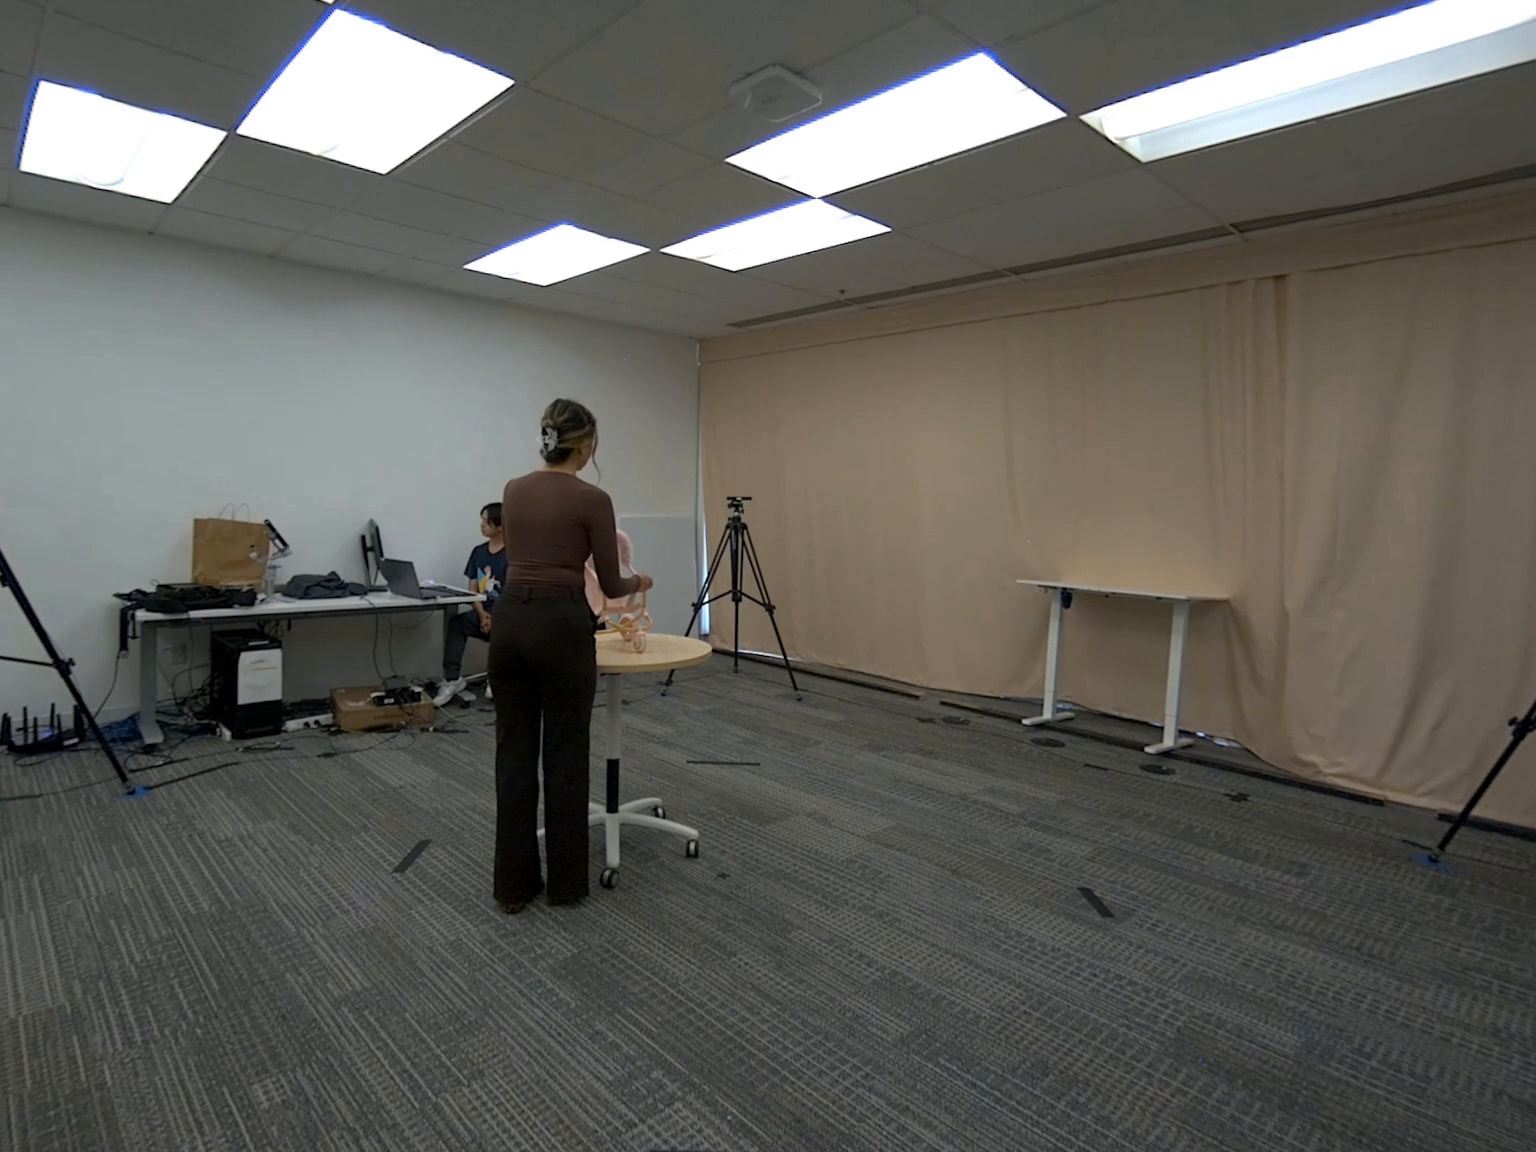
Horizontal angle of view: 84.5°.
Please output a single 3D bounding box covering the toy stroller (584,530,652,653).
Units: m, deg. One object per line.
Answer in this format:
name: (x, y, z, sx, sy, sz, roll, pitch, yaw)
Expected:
toy stroller: (-0.625, 0.051, 3.329, 0.275, 0.538, 0.347, -2, -9, -39)
